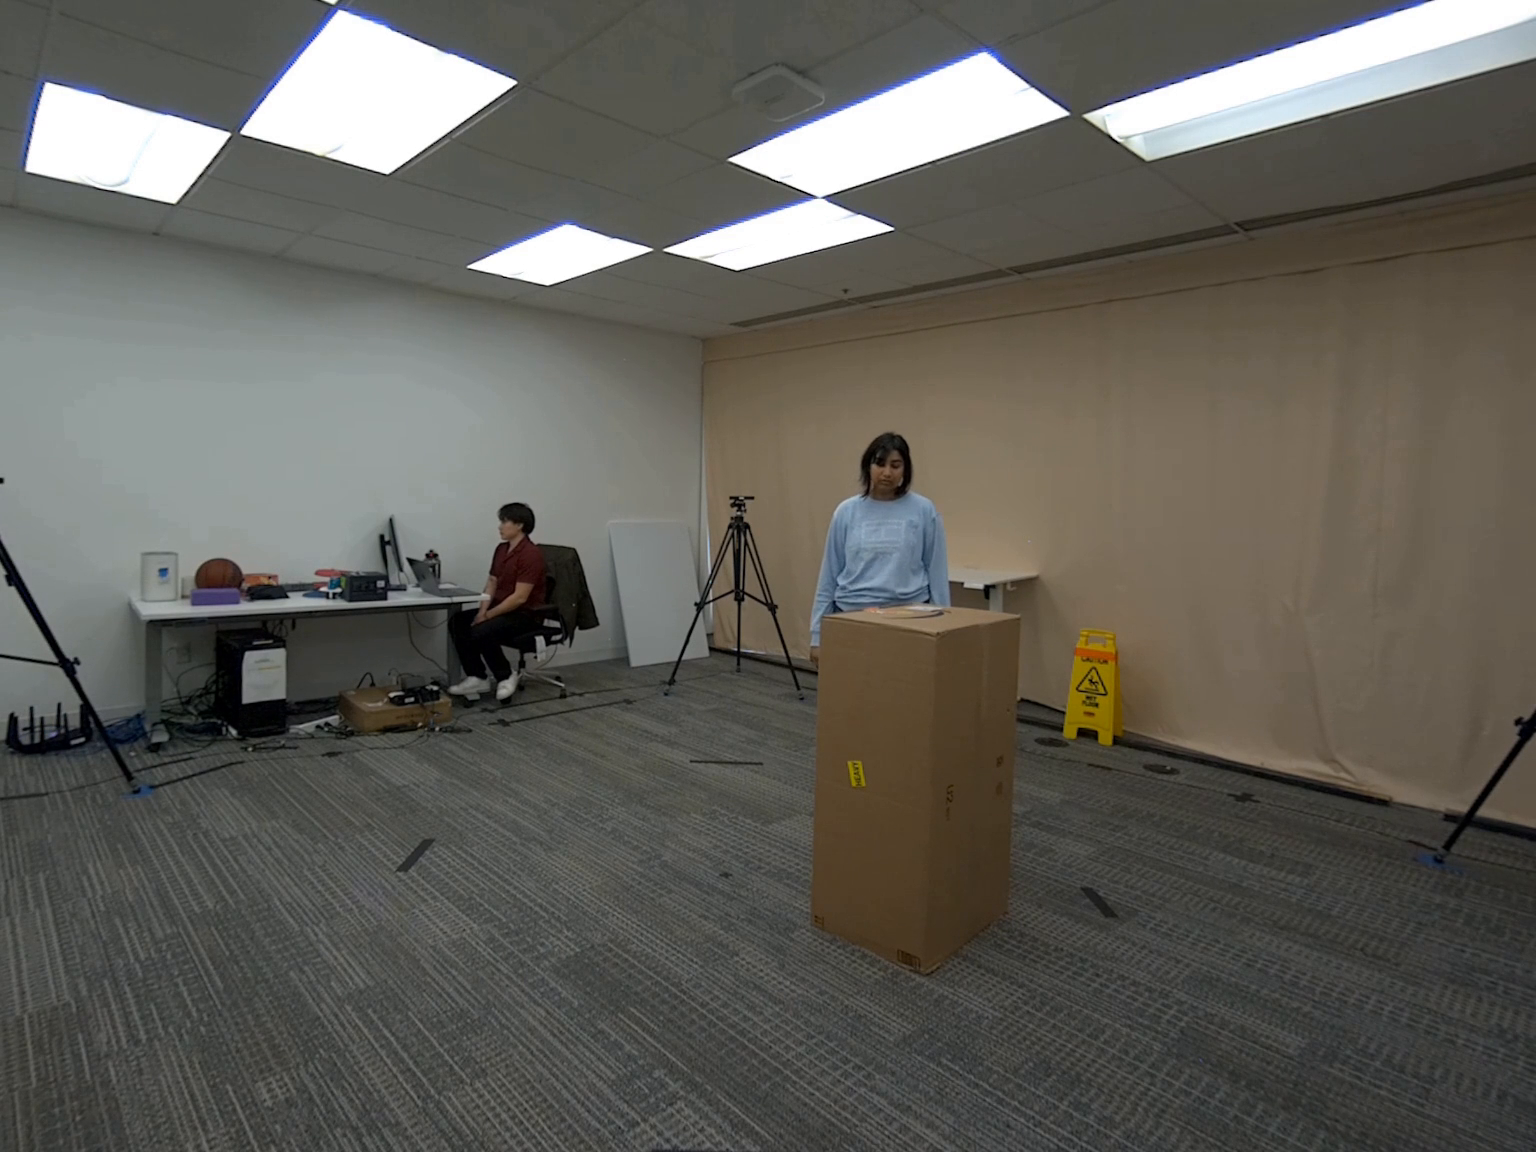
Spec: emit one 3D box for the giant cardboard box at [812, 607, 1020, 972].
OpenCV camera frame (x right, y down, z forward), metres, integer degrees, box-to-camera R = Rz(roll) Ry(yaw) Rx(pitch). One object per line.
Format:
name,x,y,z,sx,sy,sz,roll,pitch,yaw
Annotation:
giant cardboard box,0.486,0.636,2.796,0.458,1.025,0.570,4,4,42
